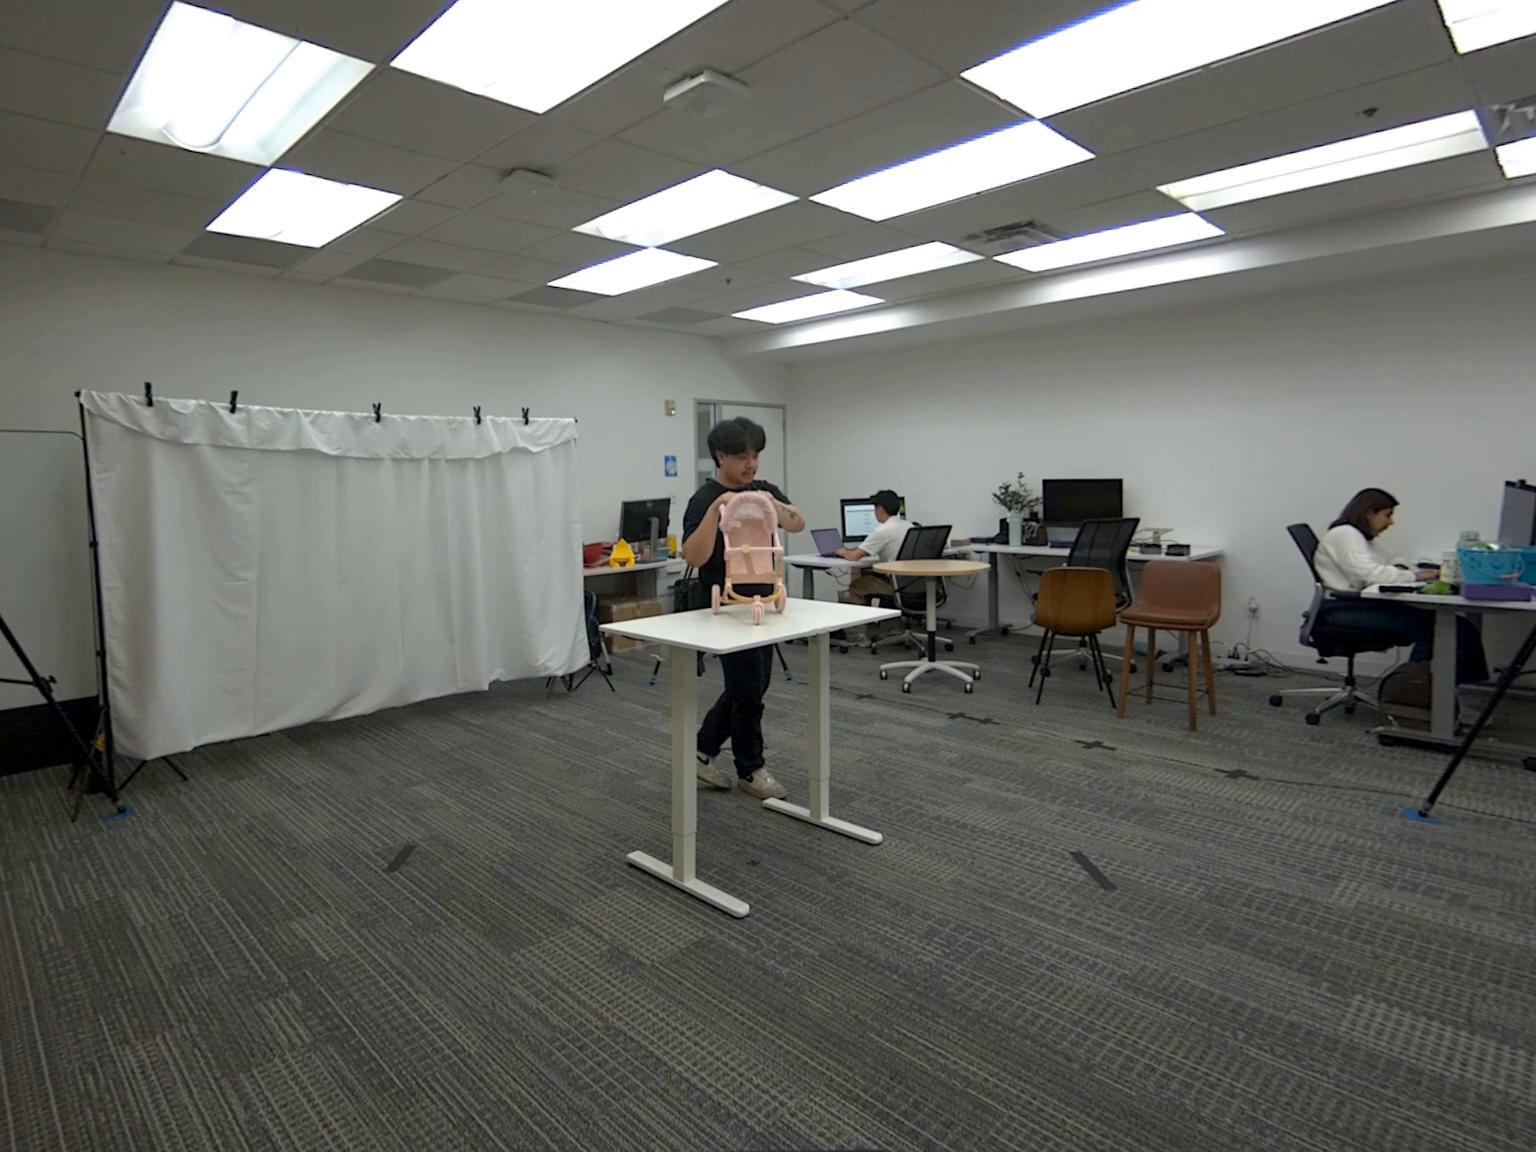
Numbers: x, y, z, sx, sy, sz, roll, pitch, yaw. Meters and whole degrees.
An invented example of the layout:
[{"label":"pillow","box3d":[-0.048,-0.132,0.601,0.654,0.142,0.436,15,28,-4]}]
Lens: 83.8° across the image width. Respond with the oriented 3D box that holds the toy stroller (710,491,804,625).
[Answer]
[{"label":"toy stroller","box3d":[-0.069,-0.071,3.177,0.280,0.541,0.339,-1,-11,-4]}]
